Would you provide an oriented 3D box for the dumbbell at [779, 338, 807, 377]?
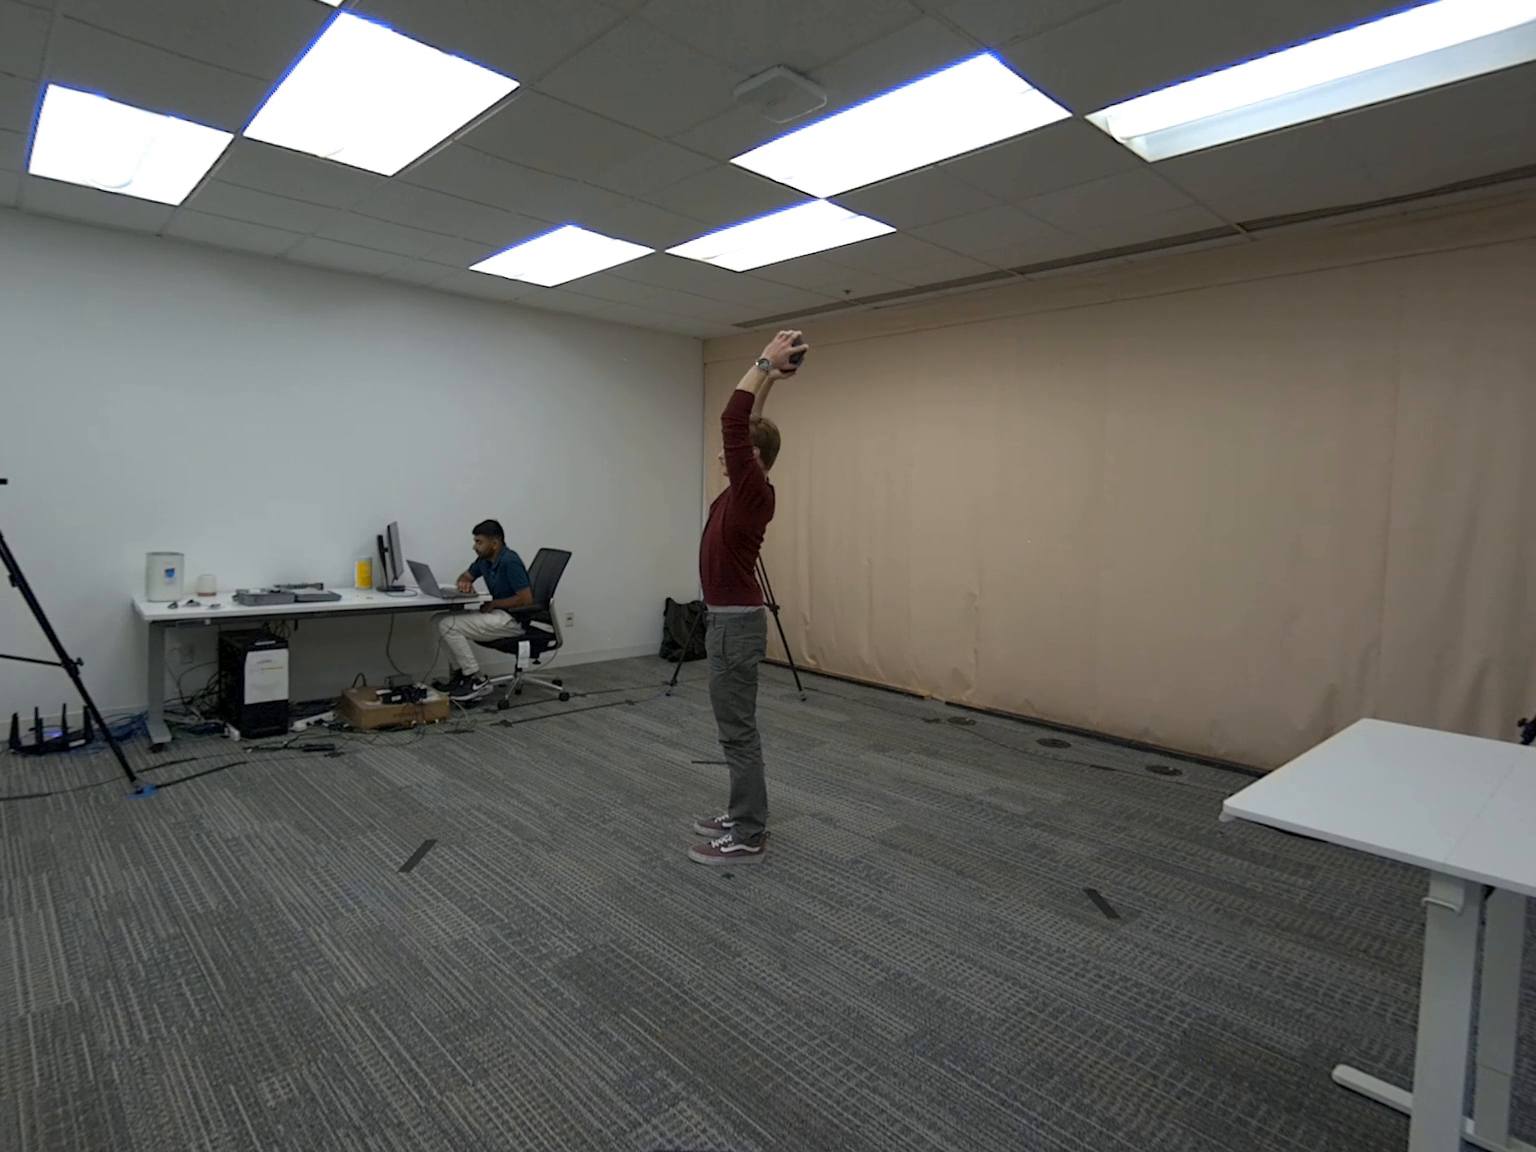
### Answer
[{"bbox_3d":[0.072,-0.849,3.257,0.123,0.108,0.294,6,7,1],"label":"dumbbell"}]
